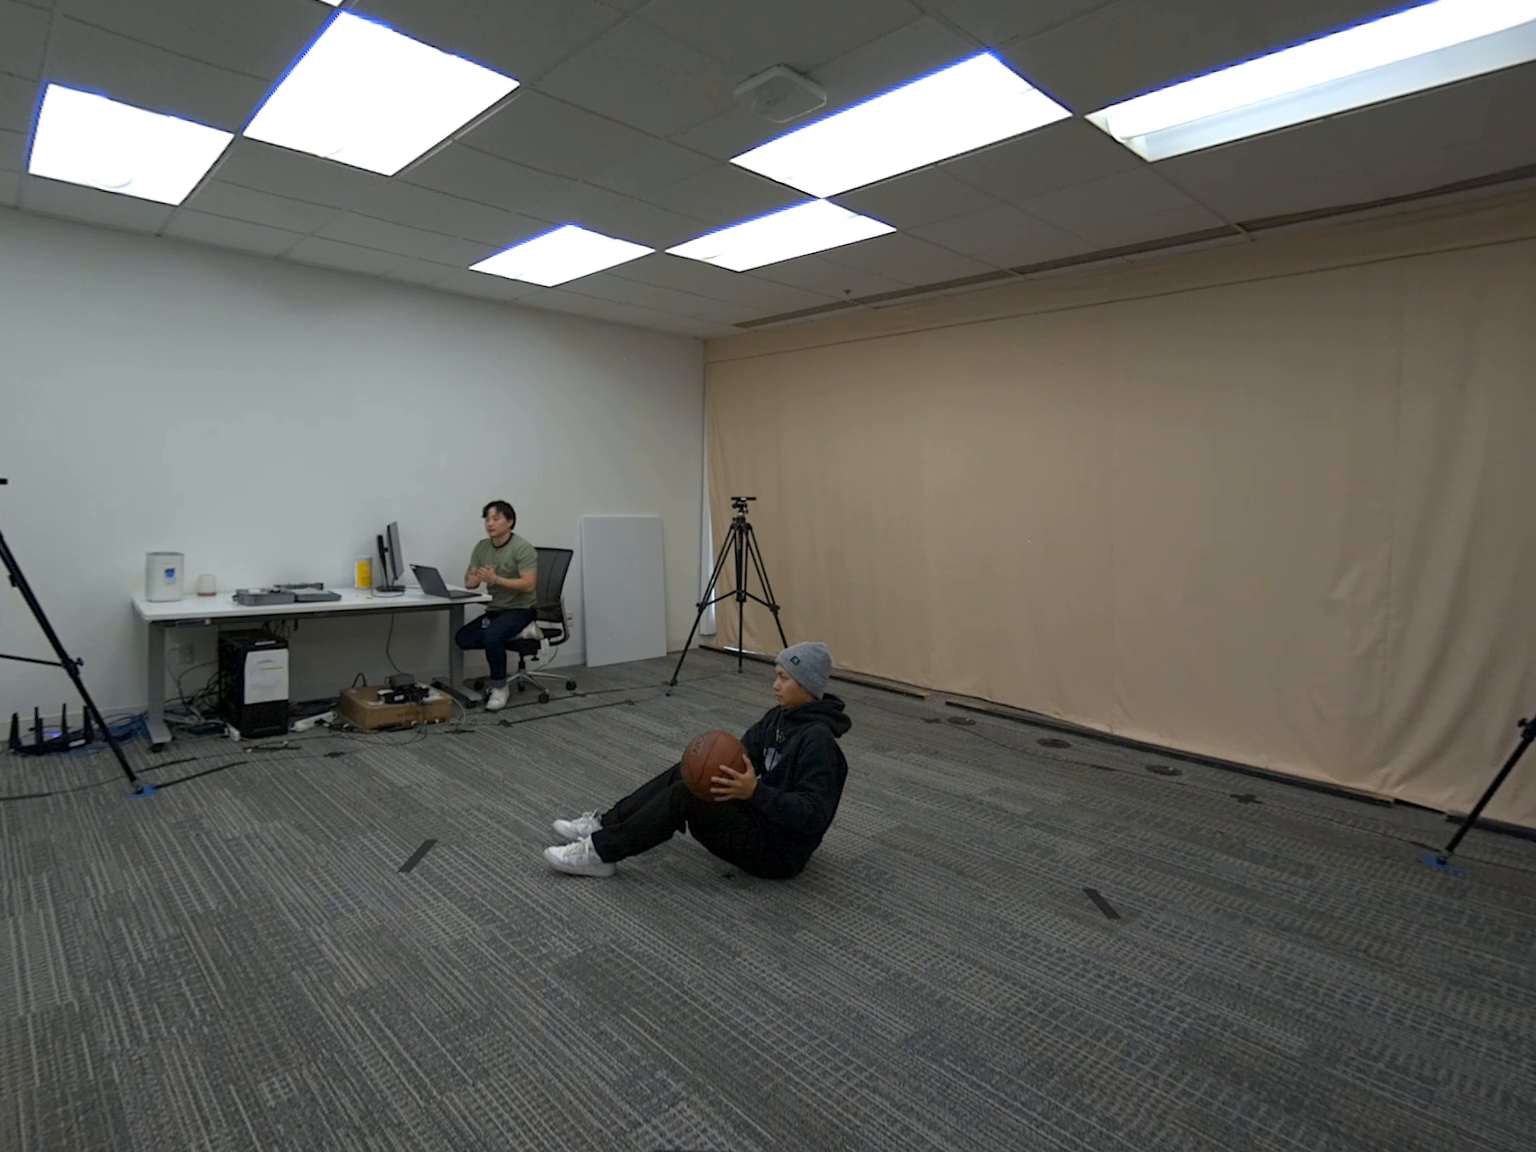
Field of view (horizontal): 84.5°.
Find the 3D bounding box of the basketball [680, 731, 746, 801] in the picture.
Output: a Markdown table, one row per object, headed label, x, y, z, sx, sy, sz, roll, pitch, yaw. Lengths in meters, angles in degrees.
| label | x | y | z | sx | sy | sz | roll | pitch | yaw |
| --- | --- | --- | --- | --- | --- | --- | --- | --- | --- |
| basketball | -0.185 | 0.657 | 2.908 | 0.236 | 0.235 | 0.237 | 1 | 4 | -1 |
